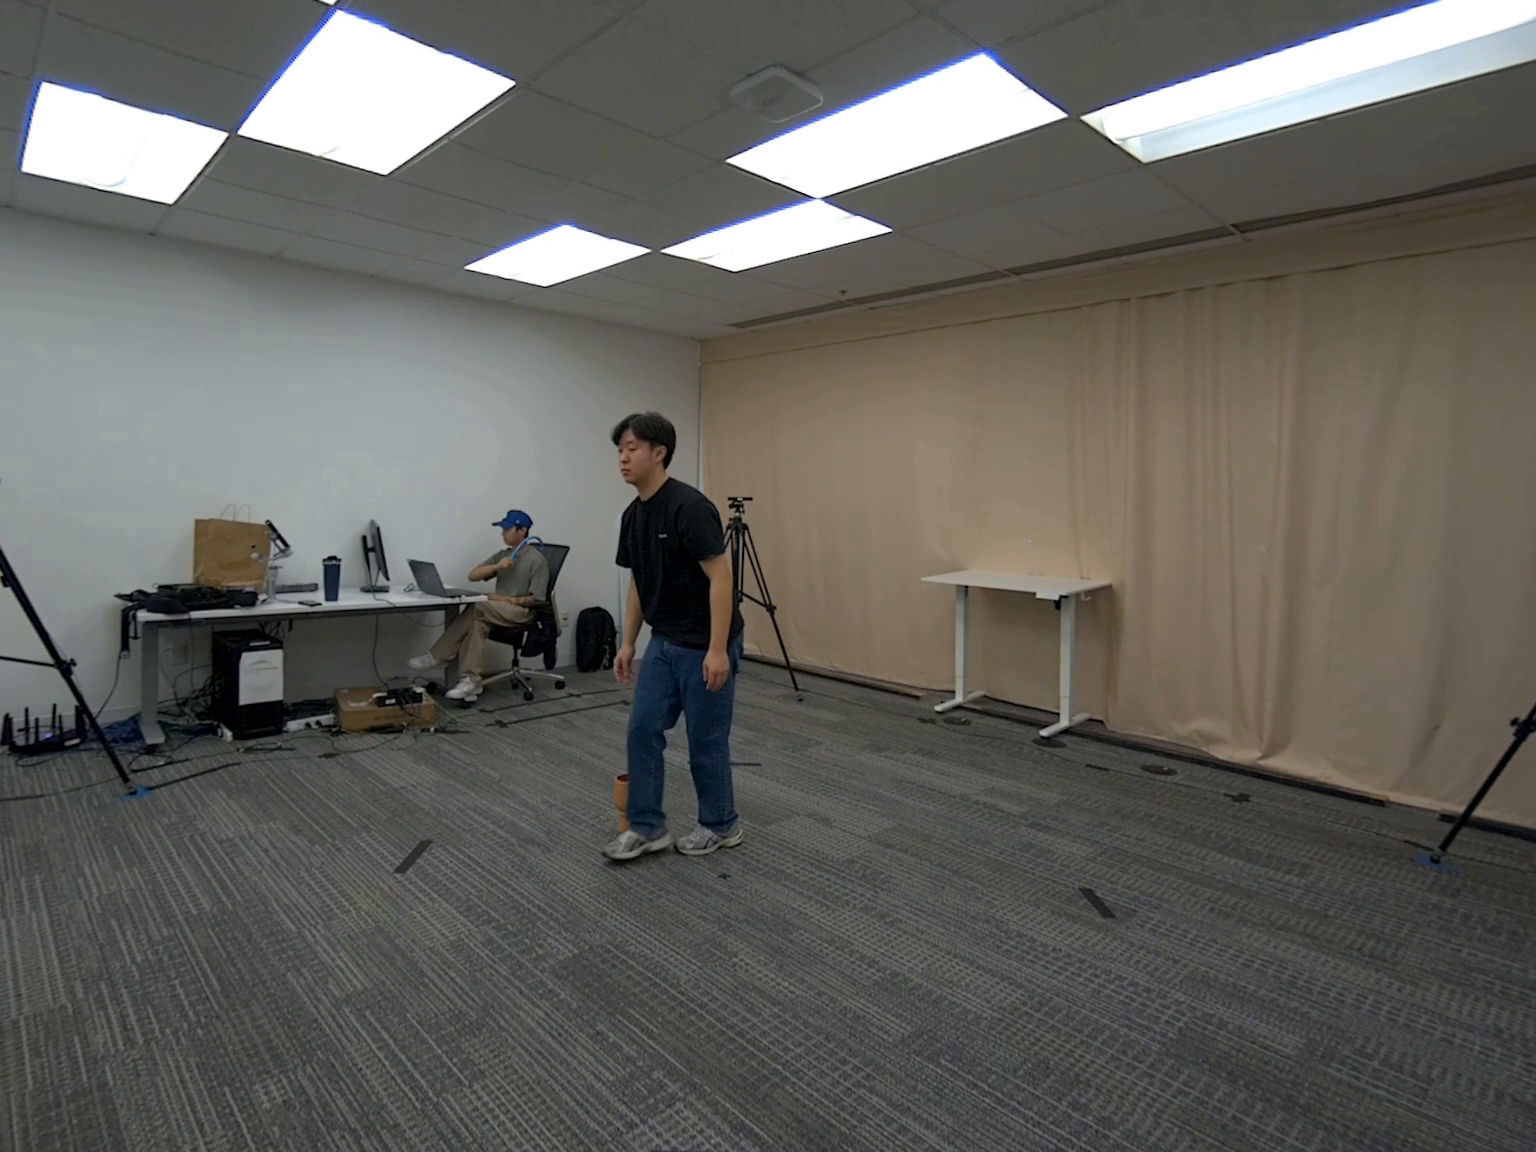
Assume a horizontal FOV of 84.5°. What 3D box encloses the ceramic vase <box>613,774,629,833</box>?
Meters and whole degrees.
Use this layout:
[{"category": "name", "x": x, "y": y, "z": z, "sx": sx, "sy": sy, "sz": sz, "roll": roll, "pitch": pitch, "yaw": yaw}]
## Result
[{"category": "ceramic vase", "x": -0.591, "y": 0.952, "z": 3.514, "sx": 0.162, "sy": 0.219, "sz": 0.132, "roll": 5, "pitch": 3, "yaw": 31}]
